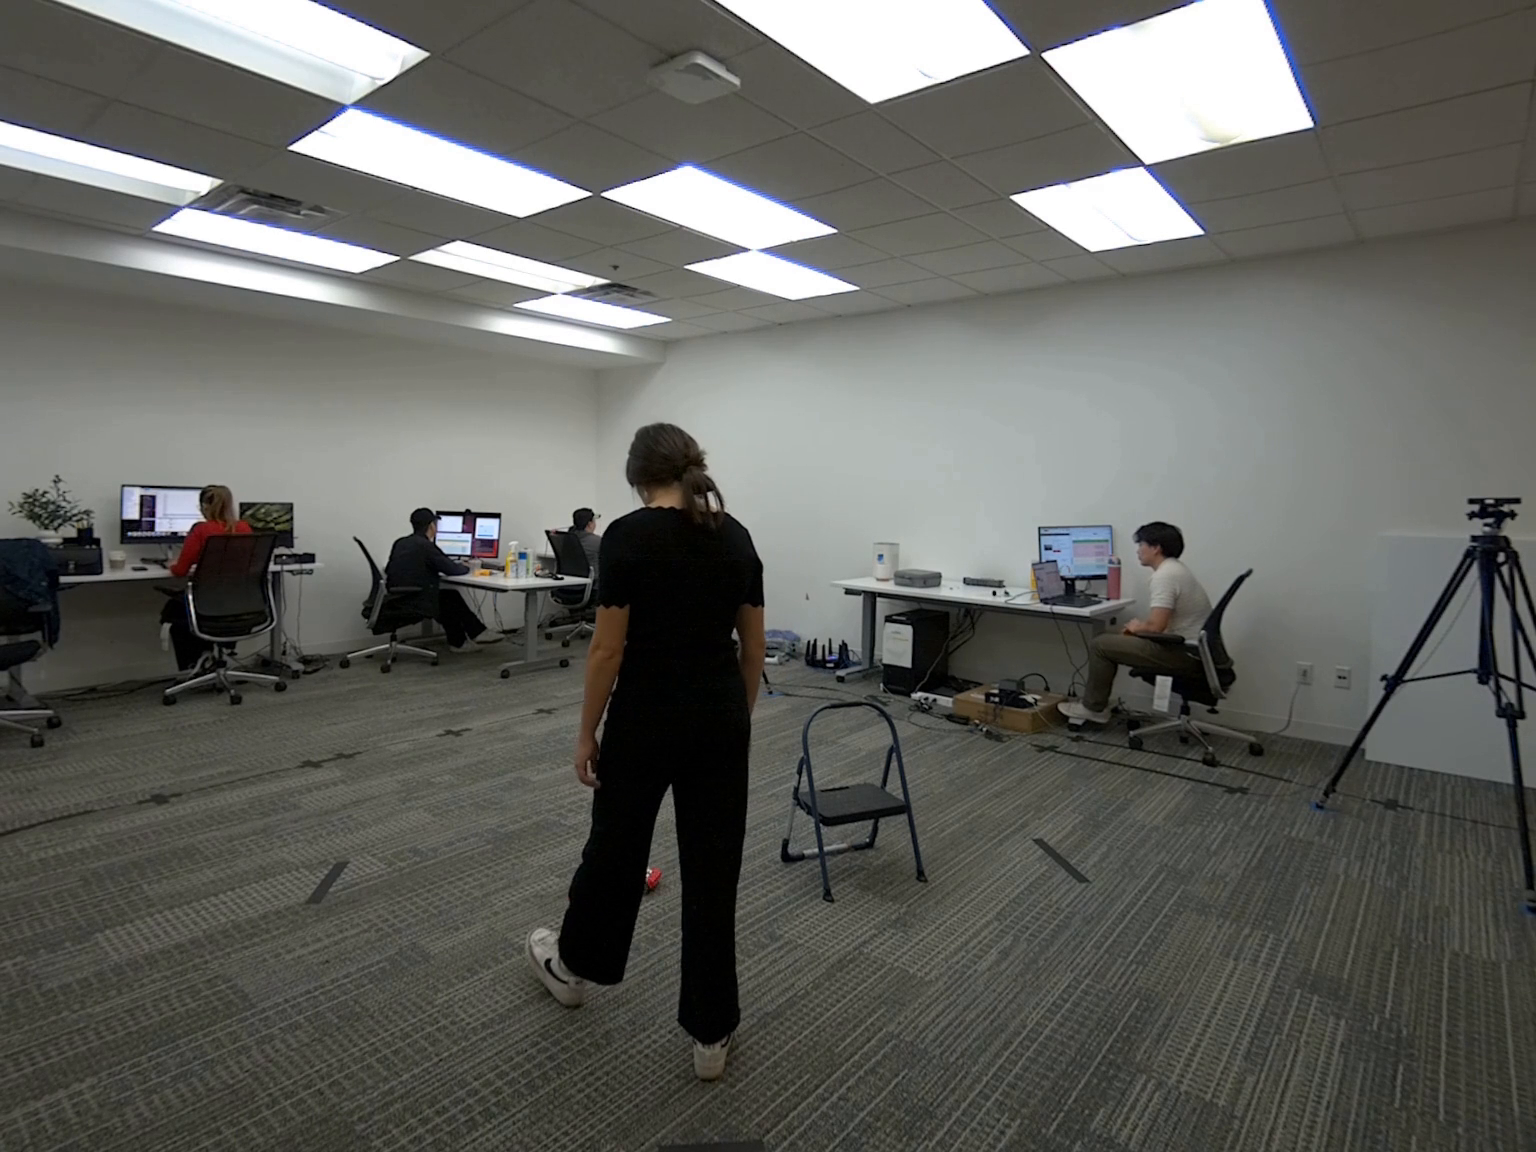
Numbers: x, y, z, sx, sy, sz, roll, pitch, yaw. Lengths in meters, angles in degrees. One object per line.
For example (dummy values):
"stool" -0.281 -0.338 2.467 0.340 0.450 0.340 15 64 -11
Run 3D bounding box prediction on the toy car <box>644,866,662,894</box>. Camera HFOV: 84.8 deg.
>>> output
"toy car" -0.520 1.047 2.973 0.259 0.082 0.129 11 10 15
